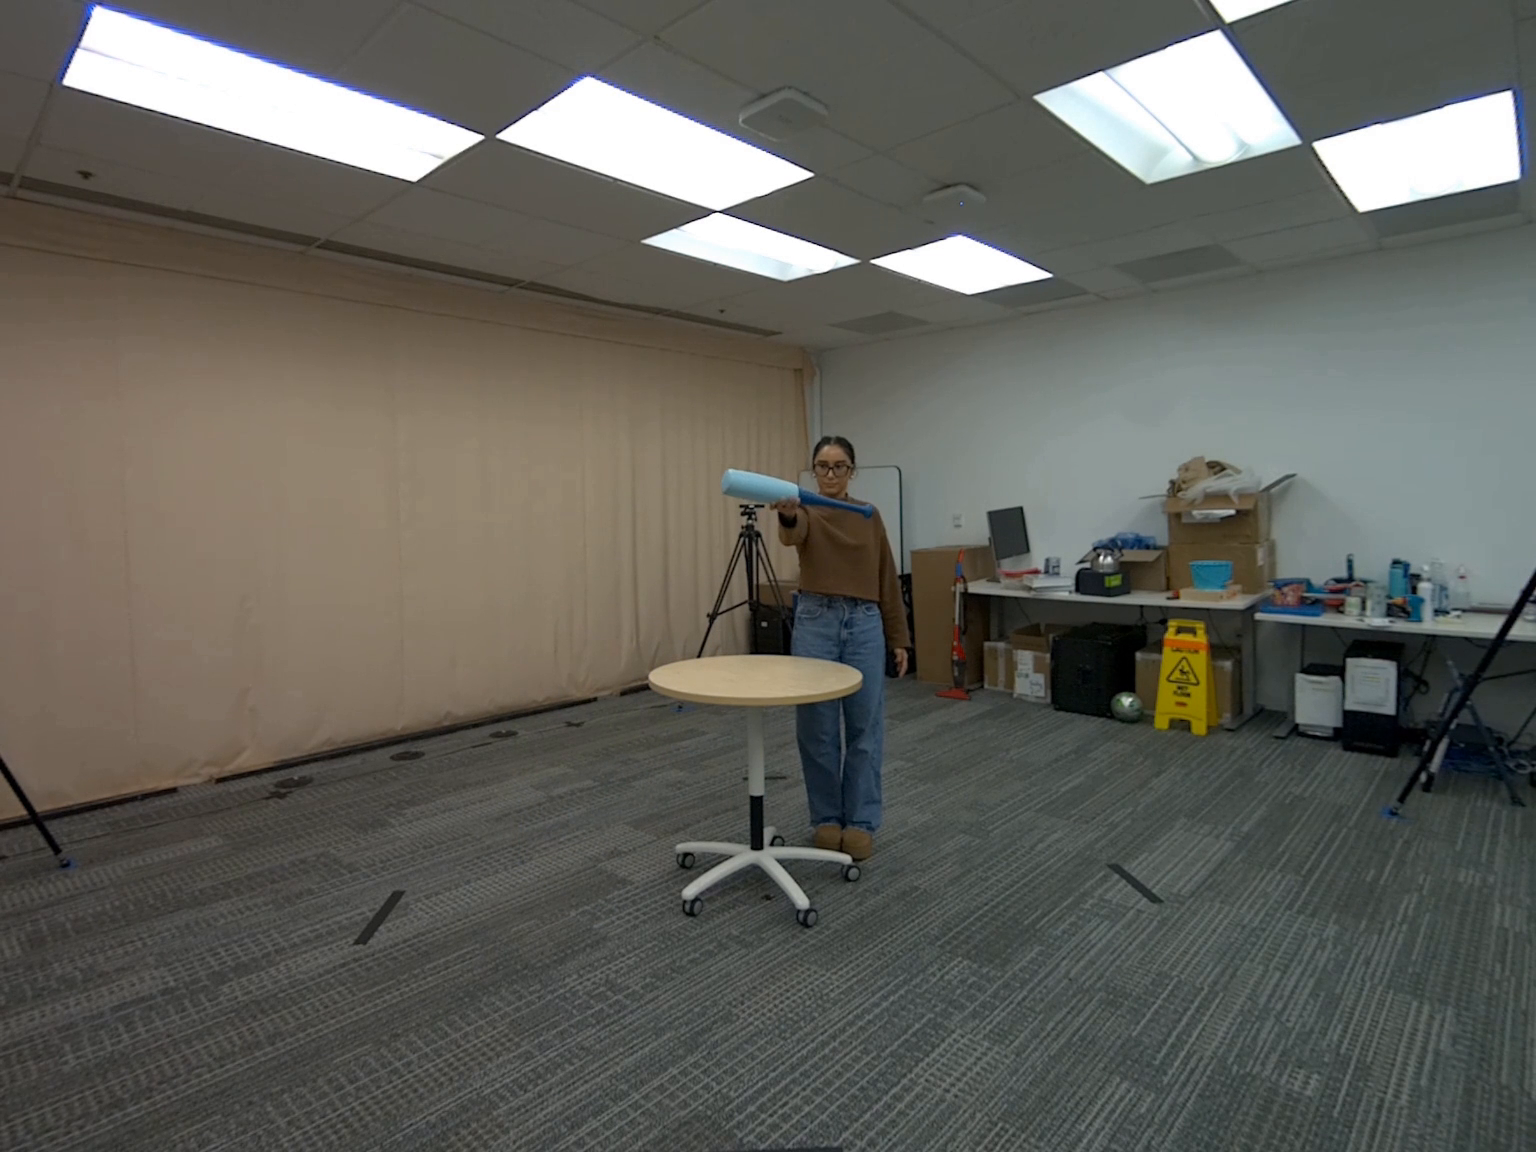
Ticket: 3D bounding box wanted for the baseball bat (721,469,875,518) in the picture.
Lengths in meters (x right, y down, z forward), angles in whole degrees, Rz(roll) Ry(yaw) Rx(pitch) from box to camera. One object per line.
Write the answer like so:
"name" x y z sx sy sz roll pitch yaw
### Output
"baseball bat" 0.107 -0.262 2.783 0.532 0.089 0.091 10 0 -17
